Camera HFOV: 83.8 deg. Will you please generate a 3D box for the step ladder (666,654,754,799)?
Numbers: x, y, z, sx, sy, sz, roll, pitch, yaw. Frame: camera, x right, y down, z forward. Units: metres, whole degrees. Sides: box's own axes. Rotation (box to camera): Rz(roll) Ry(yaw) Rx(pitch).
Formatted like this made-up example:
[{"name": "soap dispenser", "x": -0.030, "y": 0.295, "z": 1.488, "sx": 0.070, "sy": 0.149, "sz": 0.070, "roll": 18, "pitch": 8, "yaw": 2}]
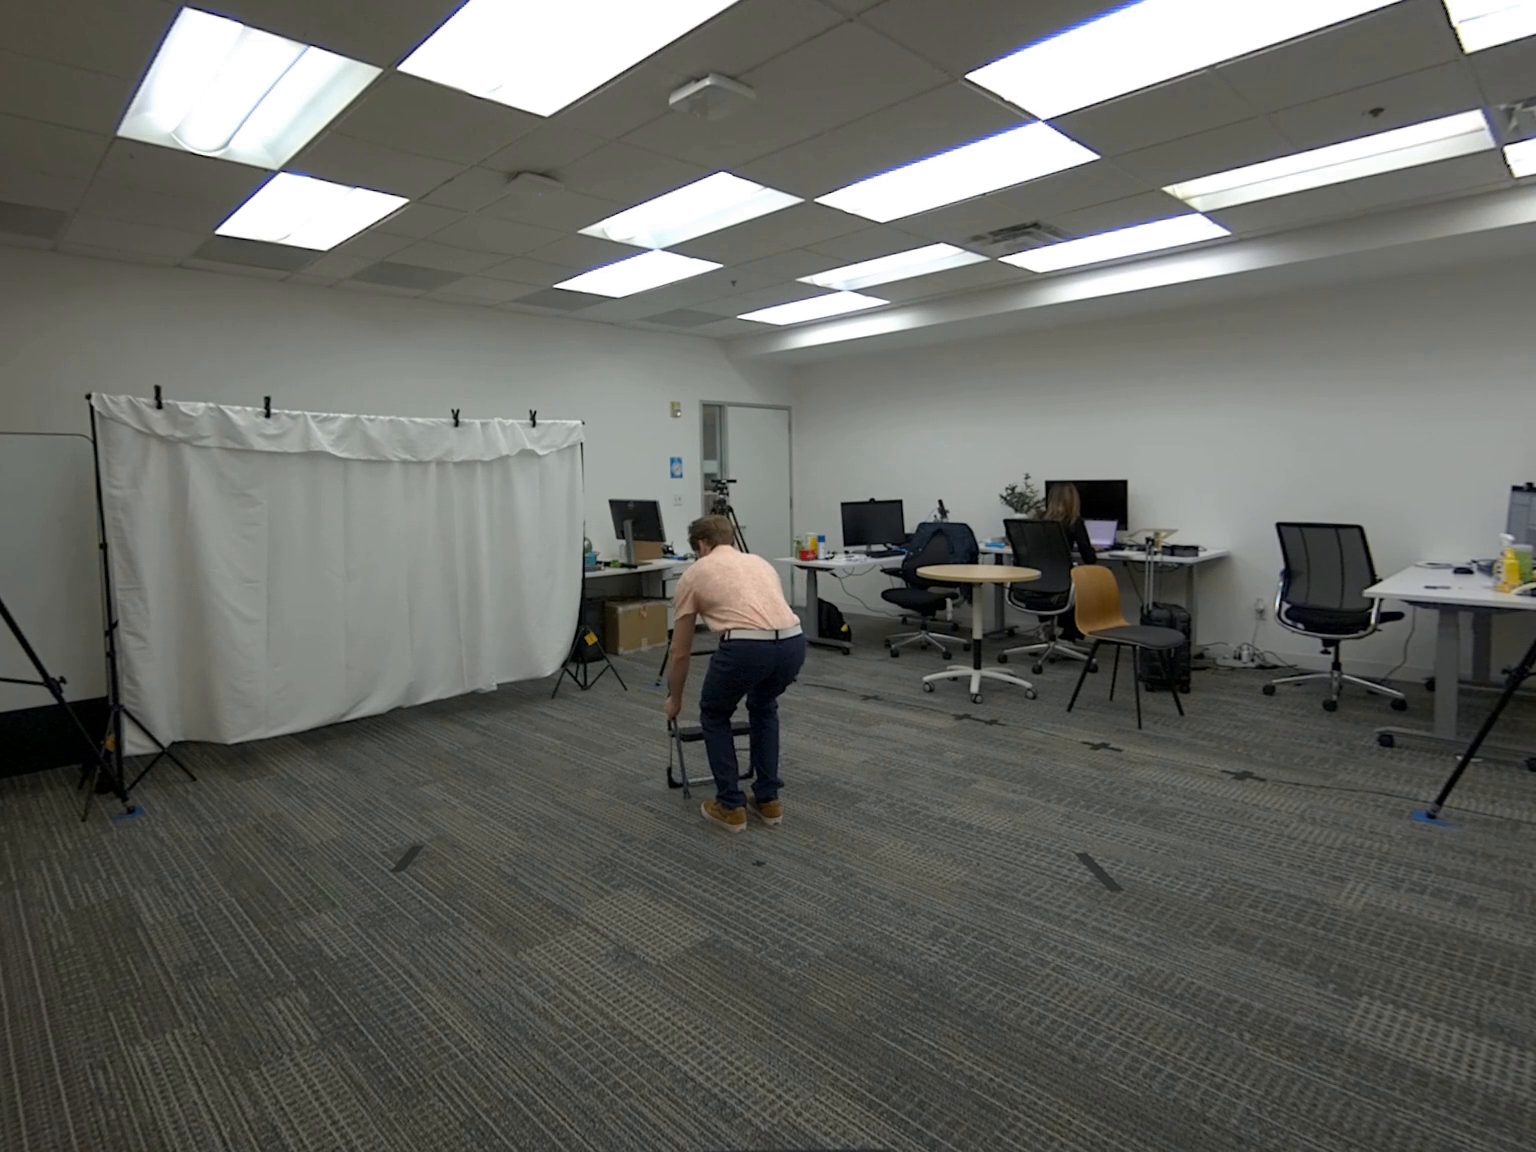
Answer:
[{"name": "step ladder", "x": -0.240, "y": 0.627, "z": 3.842, "sx": 0.423, "sy": 0.611, "sz": 0.352, "roll": -3, "pitch": -8, "yaw": -19}]
